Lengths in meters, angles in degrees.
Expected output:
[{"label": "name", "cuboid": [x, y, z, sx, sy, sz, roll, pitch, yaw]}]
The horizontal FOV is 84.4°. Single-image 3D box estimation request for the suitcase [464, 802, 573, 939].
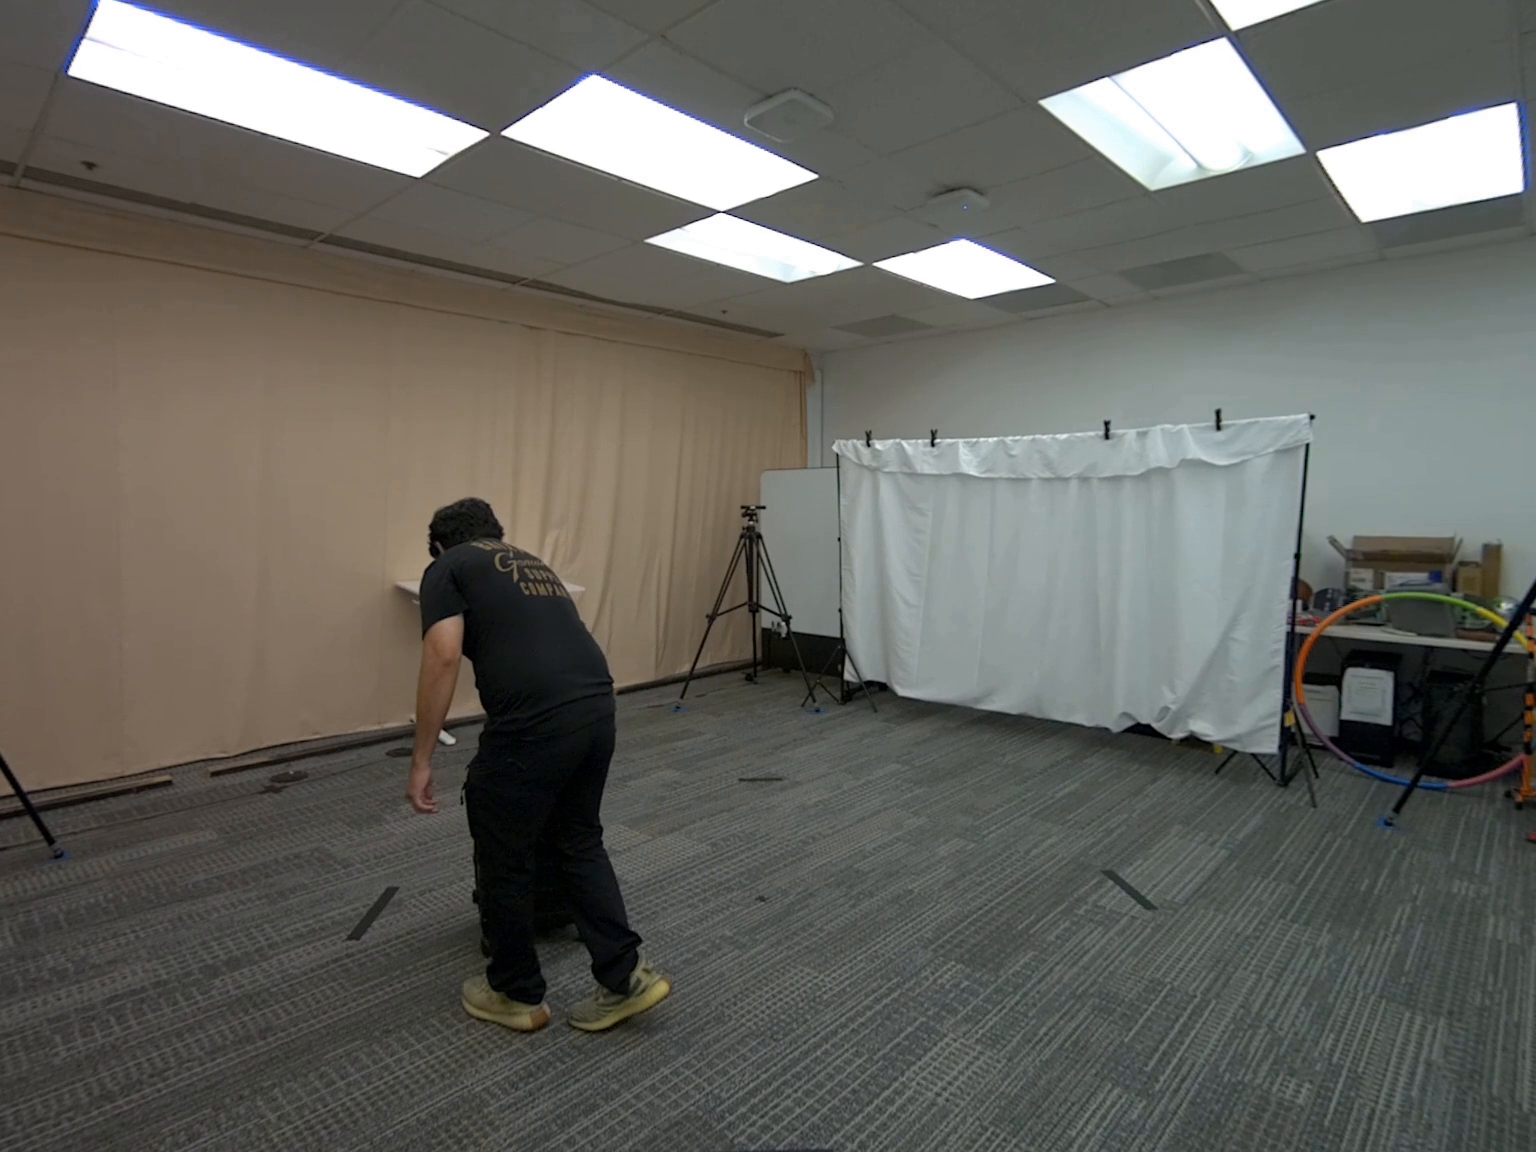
[{"label": "suitcase", "cuboid": [-0.773, 0.892, 2.760, 0.370, 0.548, 0.253, -1, 3, -15]}]
